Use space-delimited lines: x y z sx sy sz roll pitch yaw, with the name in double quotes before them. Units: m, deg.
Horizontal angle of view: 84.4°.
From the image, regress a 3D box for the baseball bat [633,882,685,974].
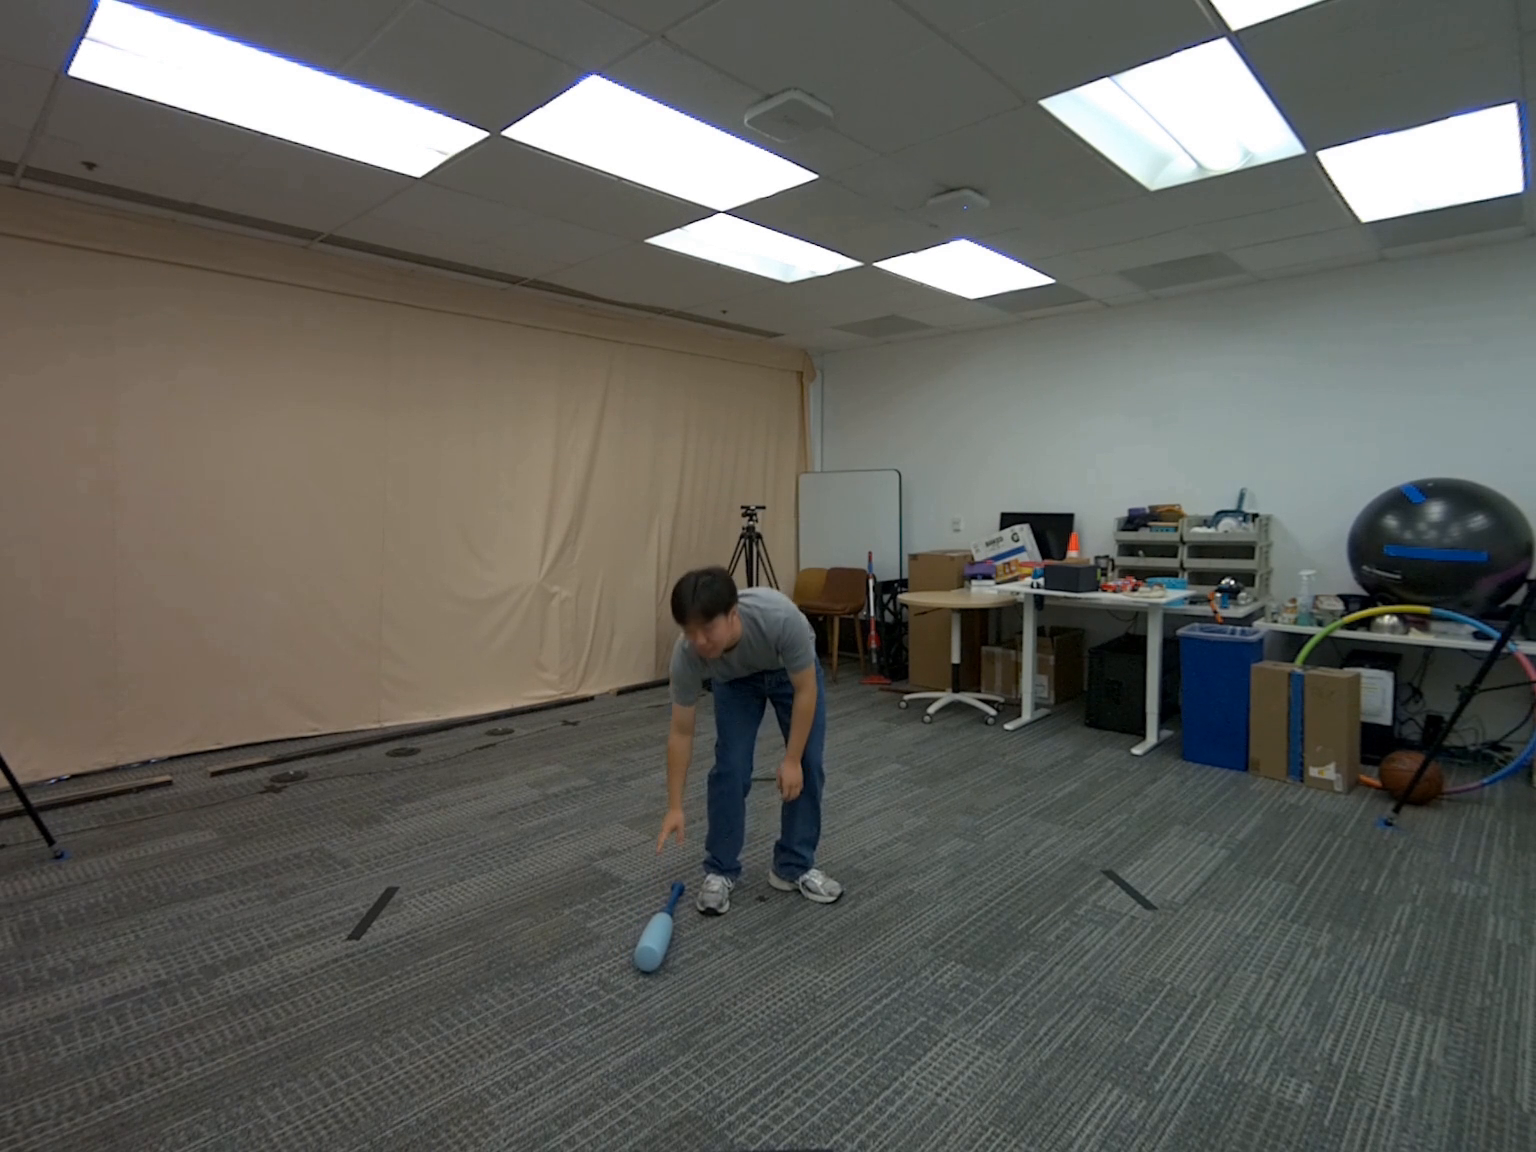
"baseball bat" -0.342 1.129 2.750 0.089 0.089 0.540 0 1 3
